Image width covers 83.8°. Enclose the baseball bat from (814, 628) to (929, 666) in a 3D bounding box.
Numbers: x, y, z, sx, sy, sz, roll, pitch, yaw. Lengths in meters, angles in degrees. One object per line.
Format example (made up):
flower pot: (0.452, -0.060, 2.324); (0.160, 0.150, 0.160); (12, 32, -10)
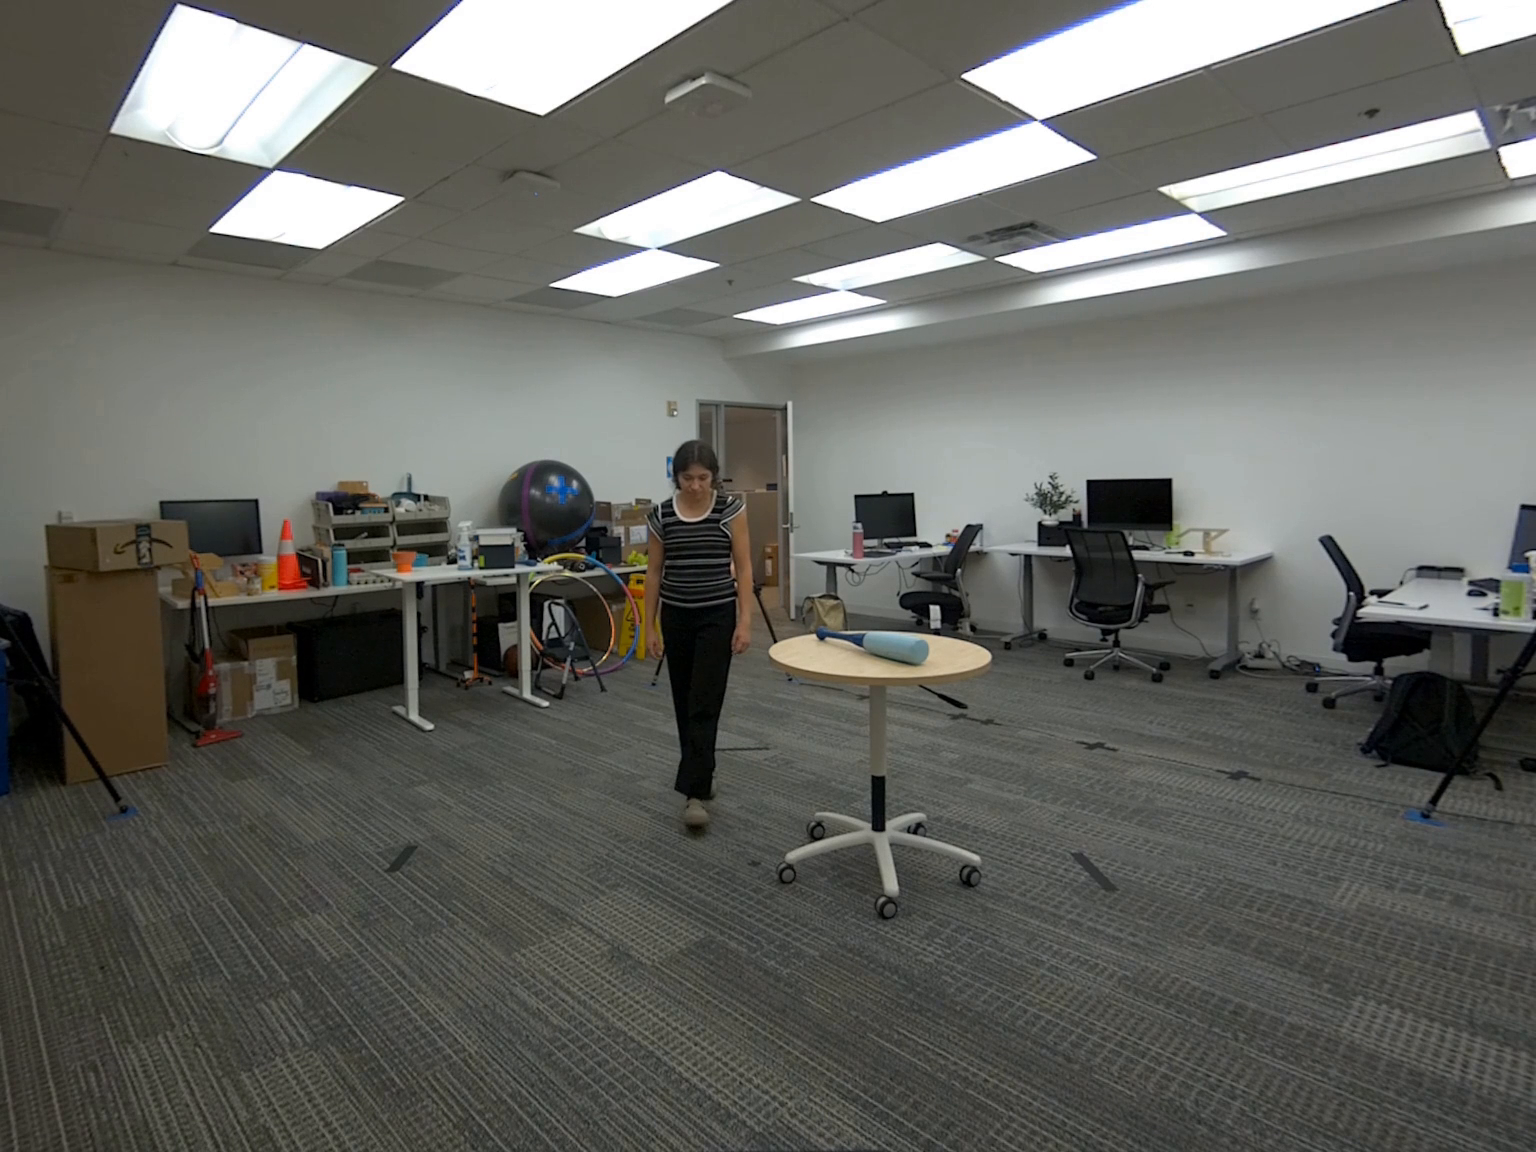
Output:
baseball bat: (0.349, 0.231, 2.996); (0.087, 0.089, 0.558); (-4, 5, -32)
